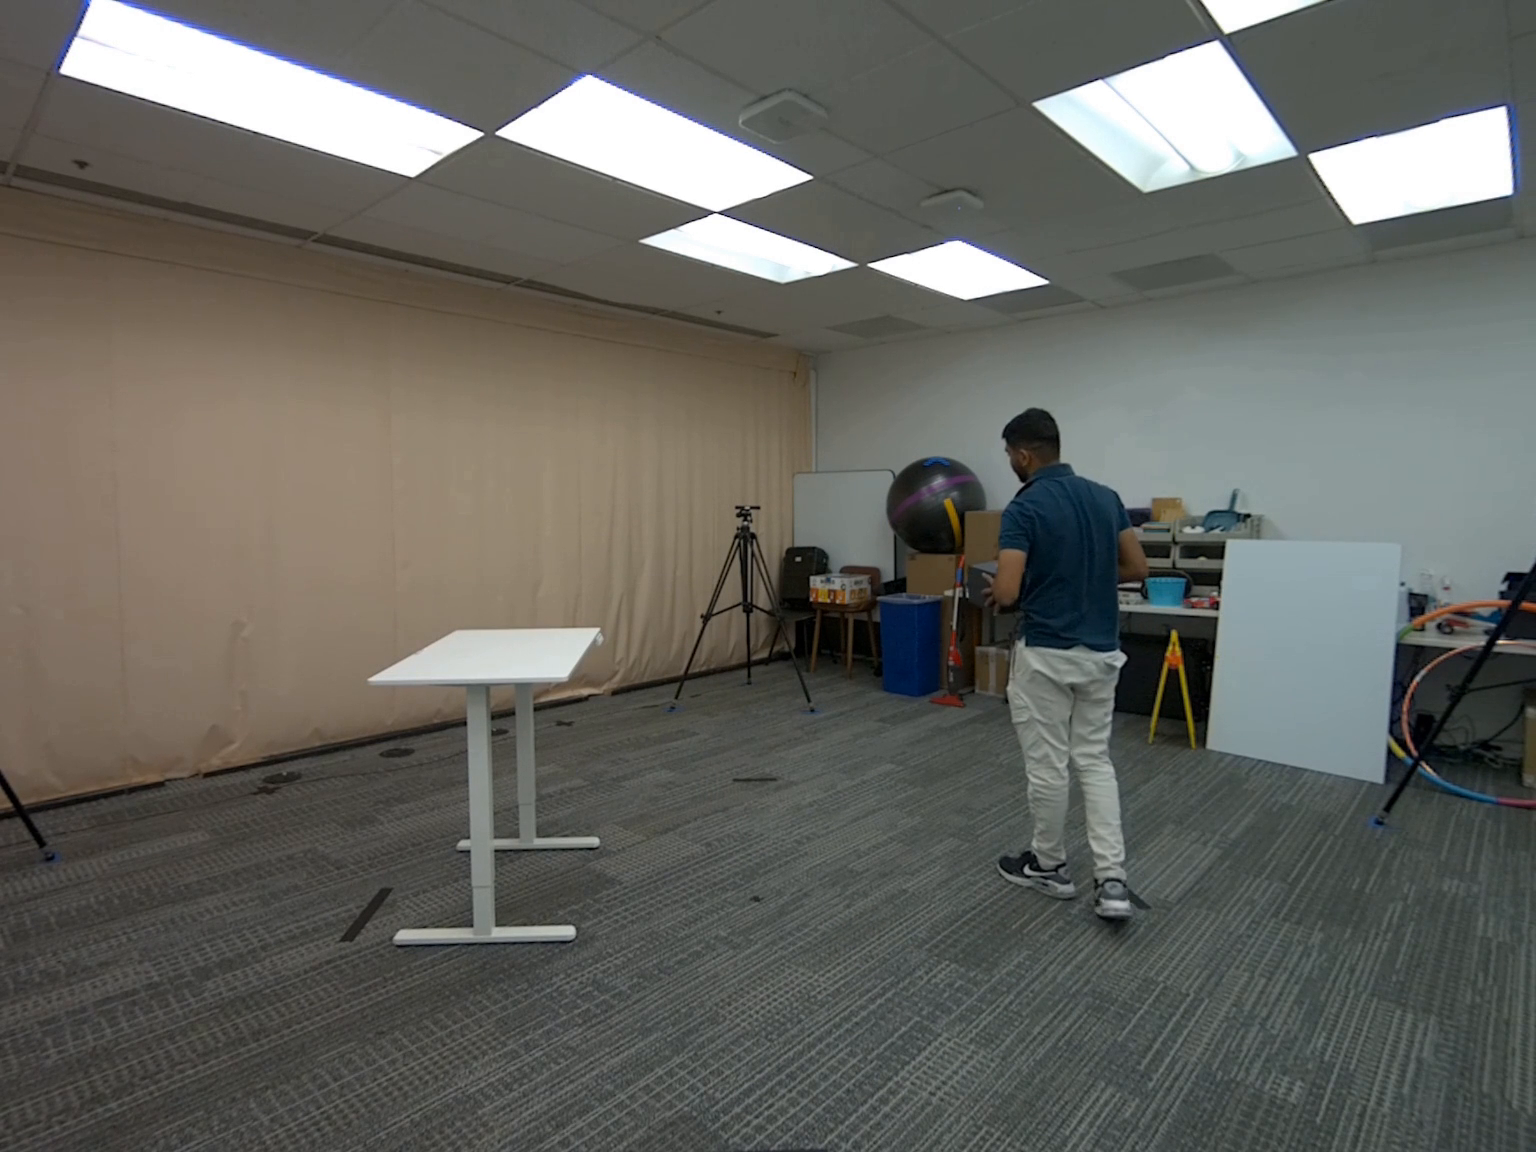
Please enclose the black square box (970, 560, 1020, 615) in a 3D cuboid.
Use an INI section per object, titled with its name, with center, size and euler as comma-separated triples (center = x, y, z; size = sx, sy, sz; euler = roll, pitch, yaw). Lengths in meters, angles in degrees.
[black square box]
center = 0.943, 0.034, 3.281
size = 0.214, 0.155, 0.233
euler = -7, 11, -16
